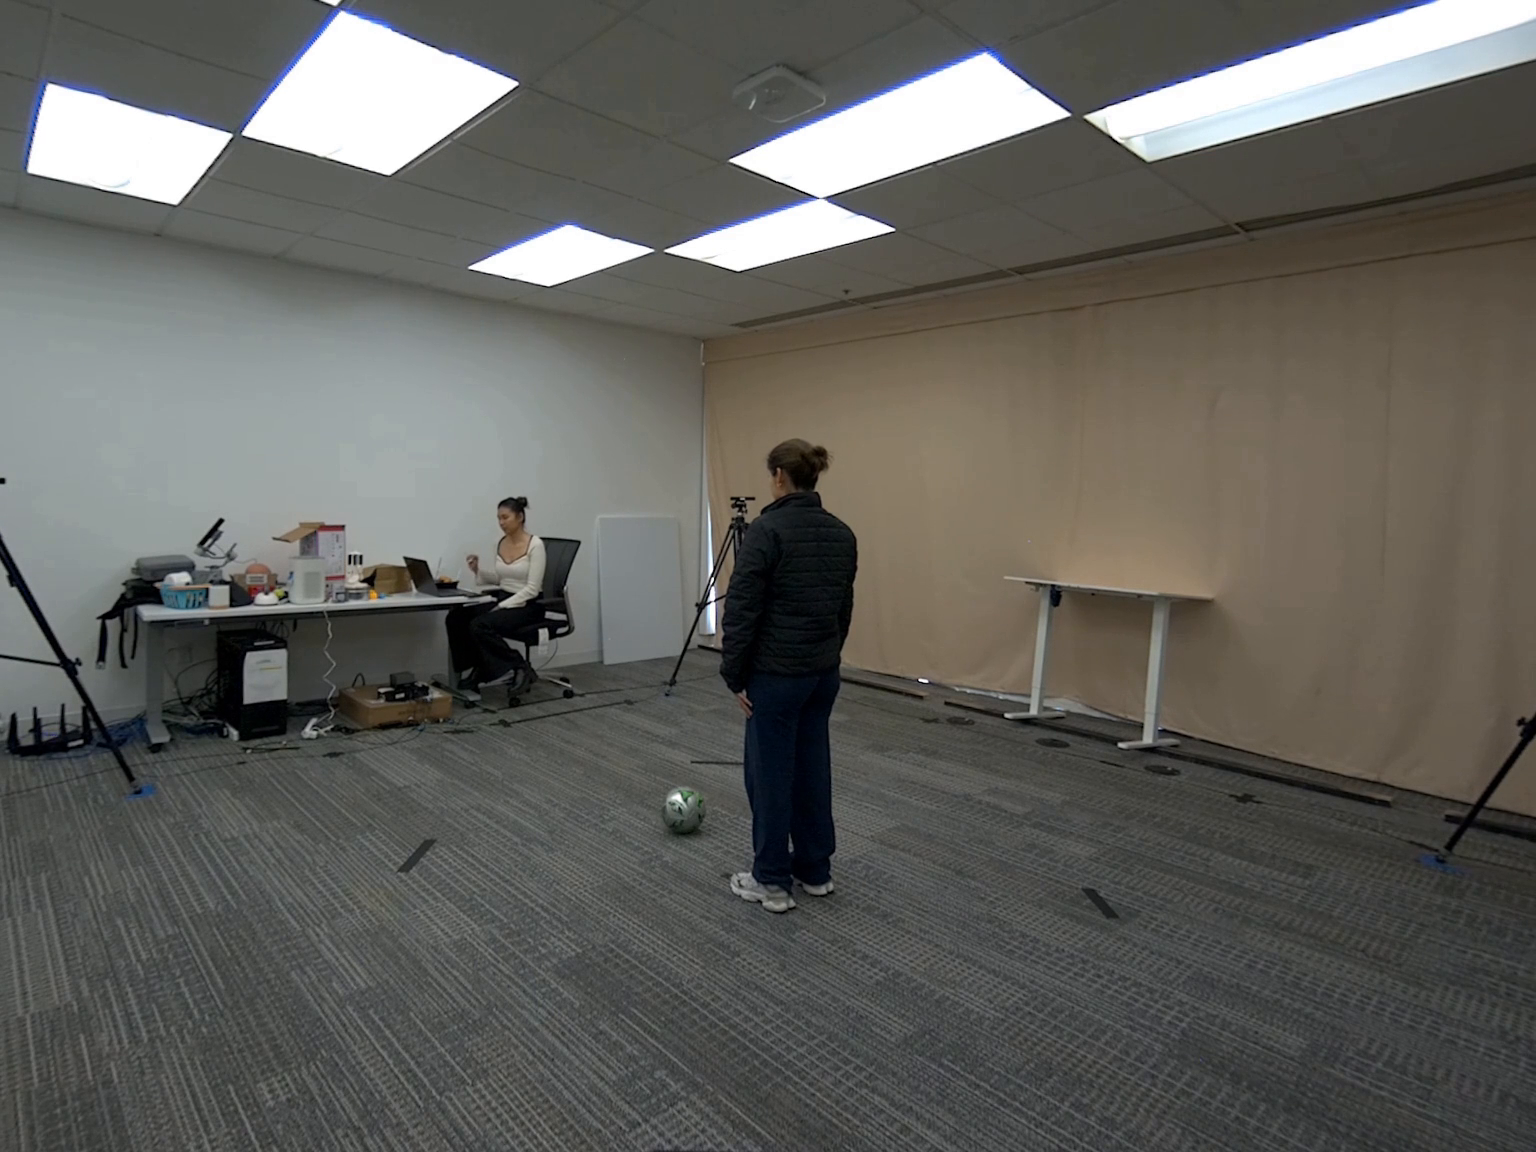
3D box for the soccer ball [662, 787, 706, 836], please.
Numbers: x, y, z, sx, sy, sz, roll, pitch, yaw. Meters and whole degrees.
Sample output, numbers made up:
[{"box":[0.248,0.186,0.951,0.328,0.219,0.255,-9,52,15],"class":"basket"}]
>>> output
[{"box":[-0.360,0.974,3.506,0.187,0.187,0.188,1,4,-1],"class":"soccer ball"}]
